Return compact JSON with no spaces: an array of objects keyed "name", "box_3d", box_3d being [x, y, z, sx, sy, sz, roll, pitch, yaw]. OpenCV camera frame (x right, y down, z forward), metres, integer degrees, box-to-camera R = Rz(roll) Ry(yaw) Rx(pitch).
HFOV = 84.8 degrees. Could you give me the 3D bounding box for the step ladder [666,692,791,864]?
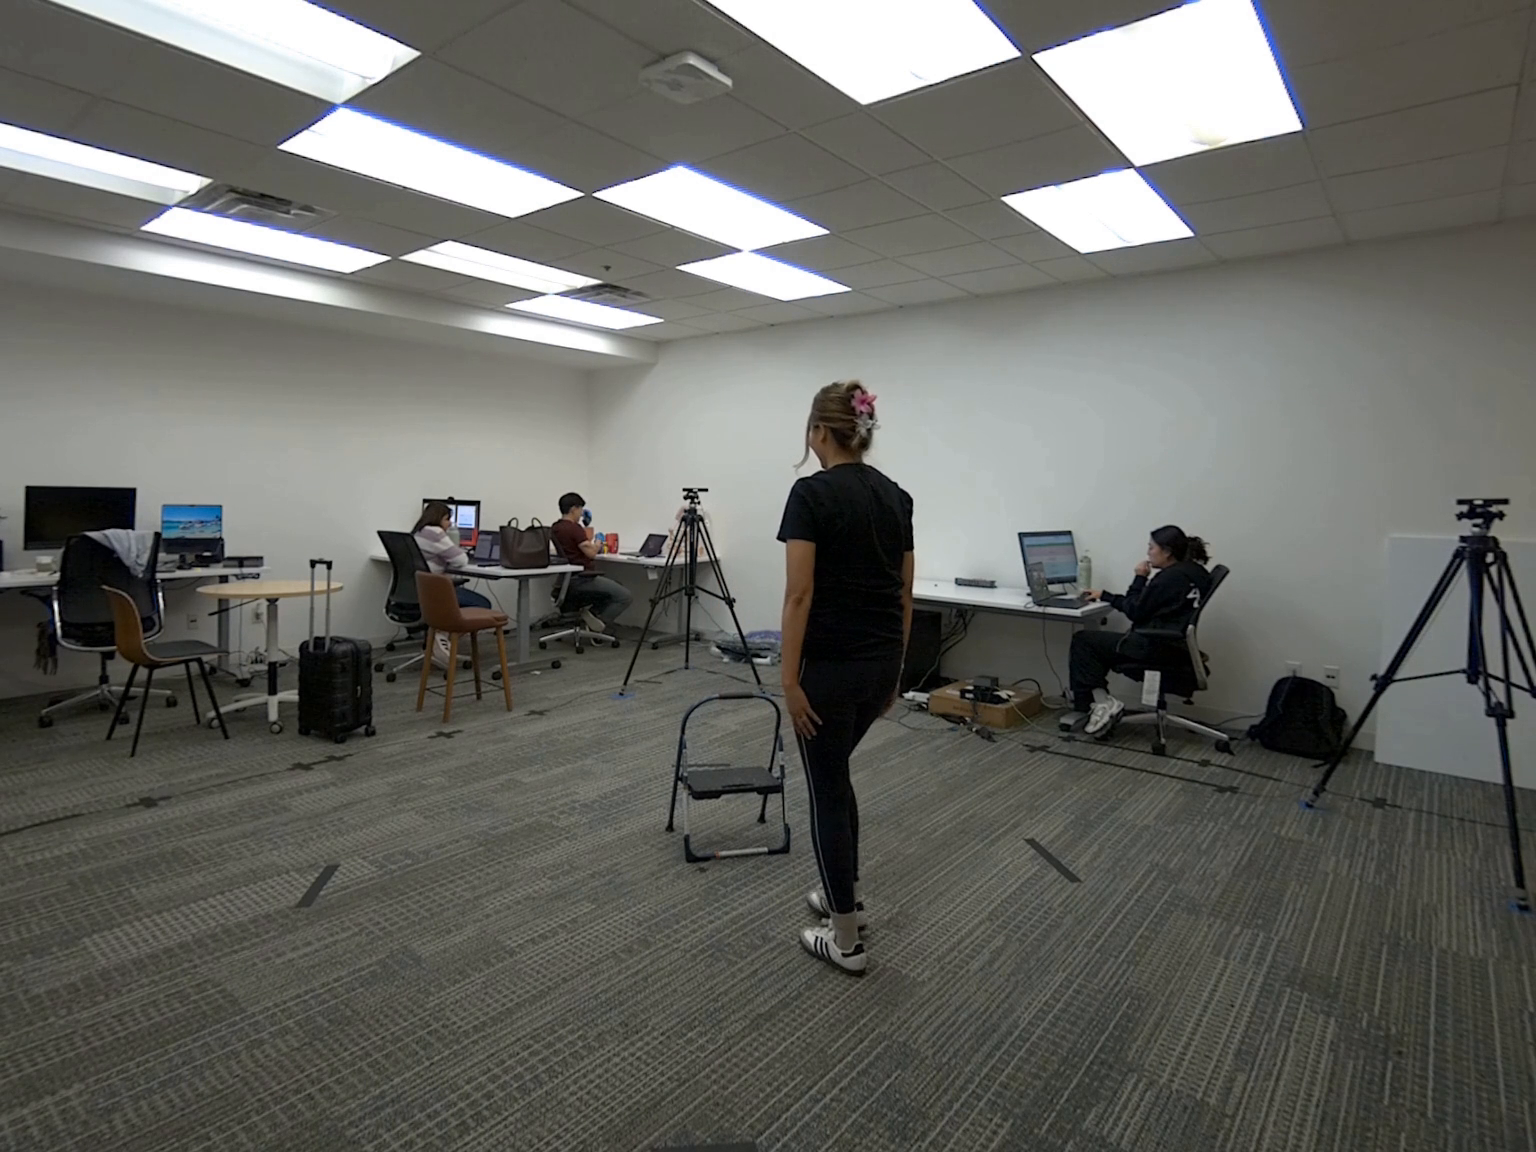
[{"name":"step ladder","box_3d":[-0.169,0.748,3.365,0.423,0.605,0.356,0,3,-18]}]
